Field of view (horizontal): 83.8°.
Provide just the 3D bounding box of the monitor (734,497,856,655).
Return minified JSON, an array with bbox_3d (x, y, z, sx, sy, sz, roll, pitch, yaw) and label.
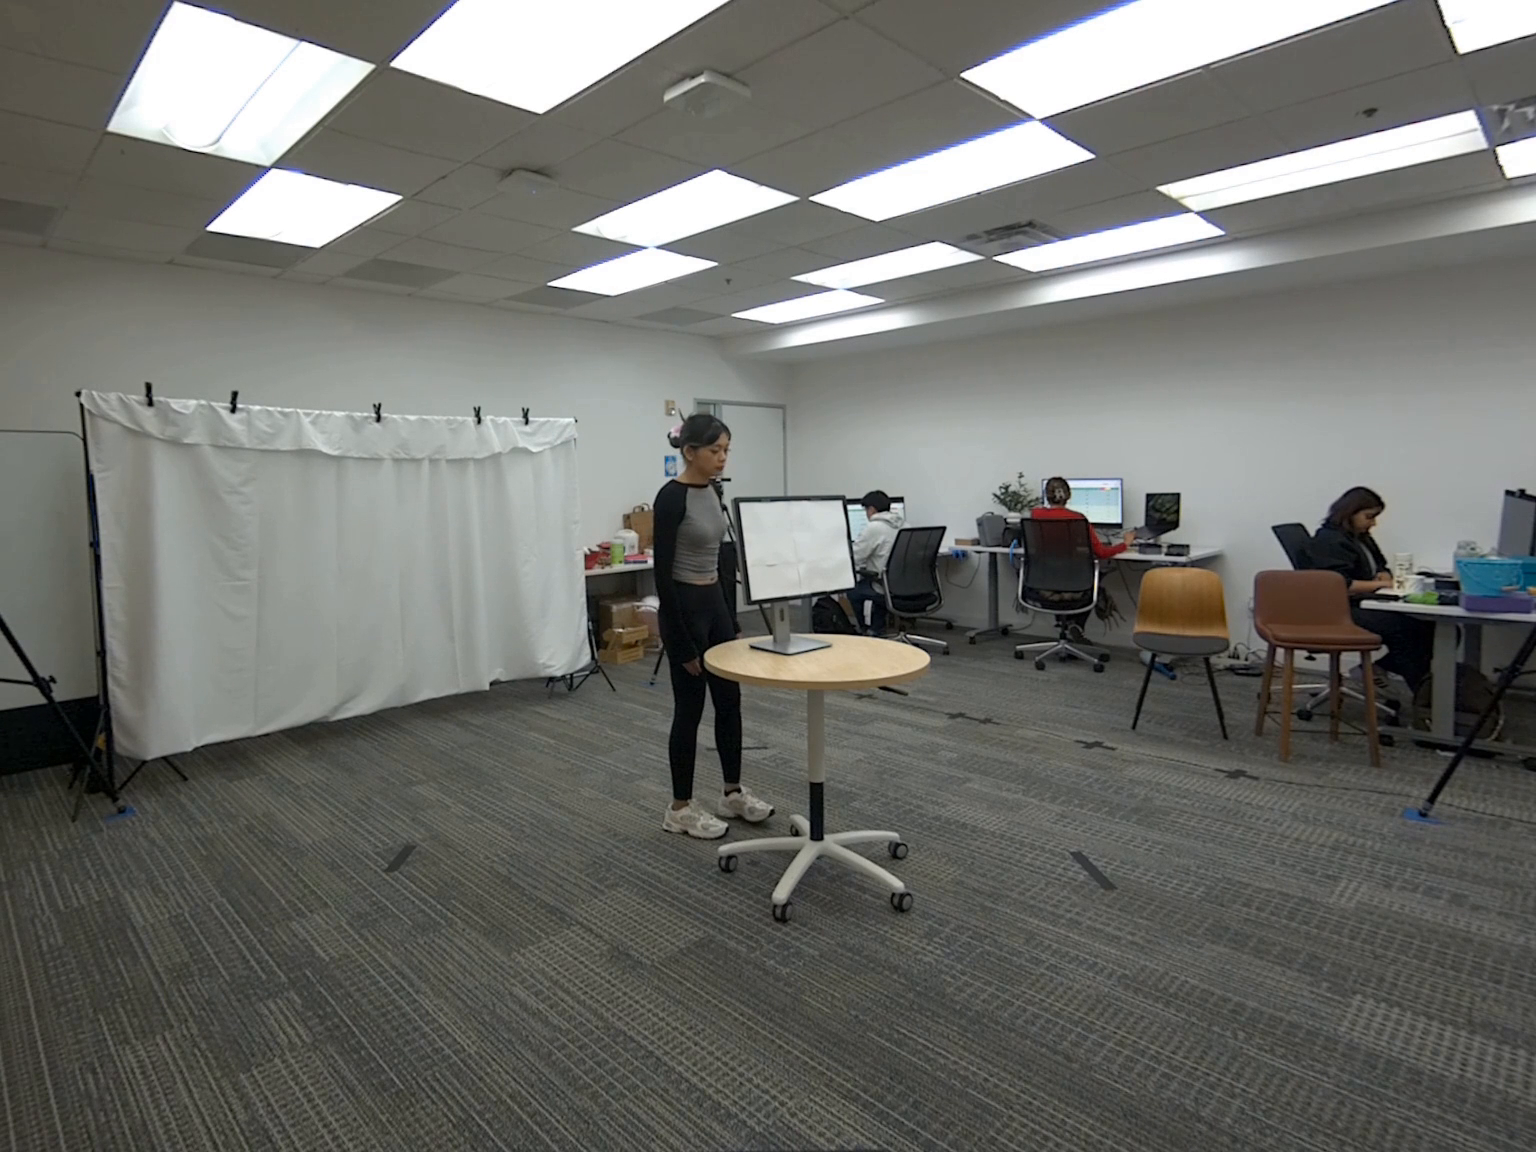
[{"bbox_3d":[0.082,-0.010,3.047,0.525,0.520,0.193,-6,8,-44],"label":"monitor"}]
